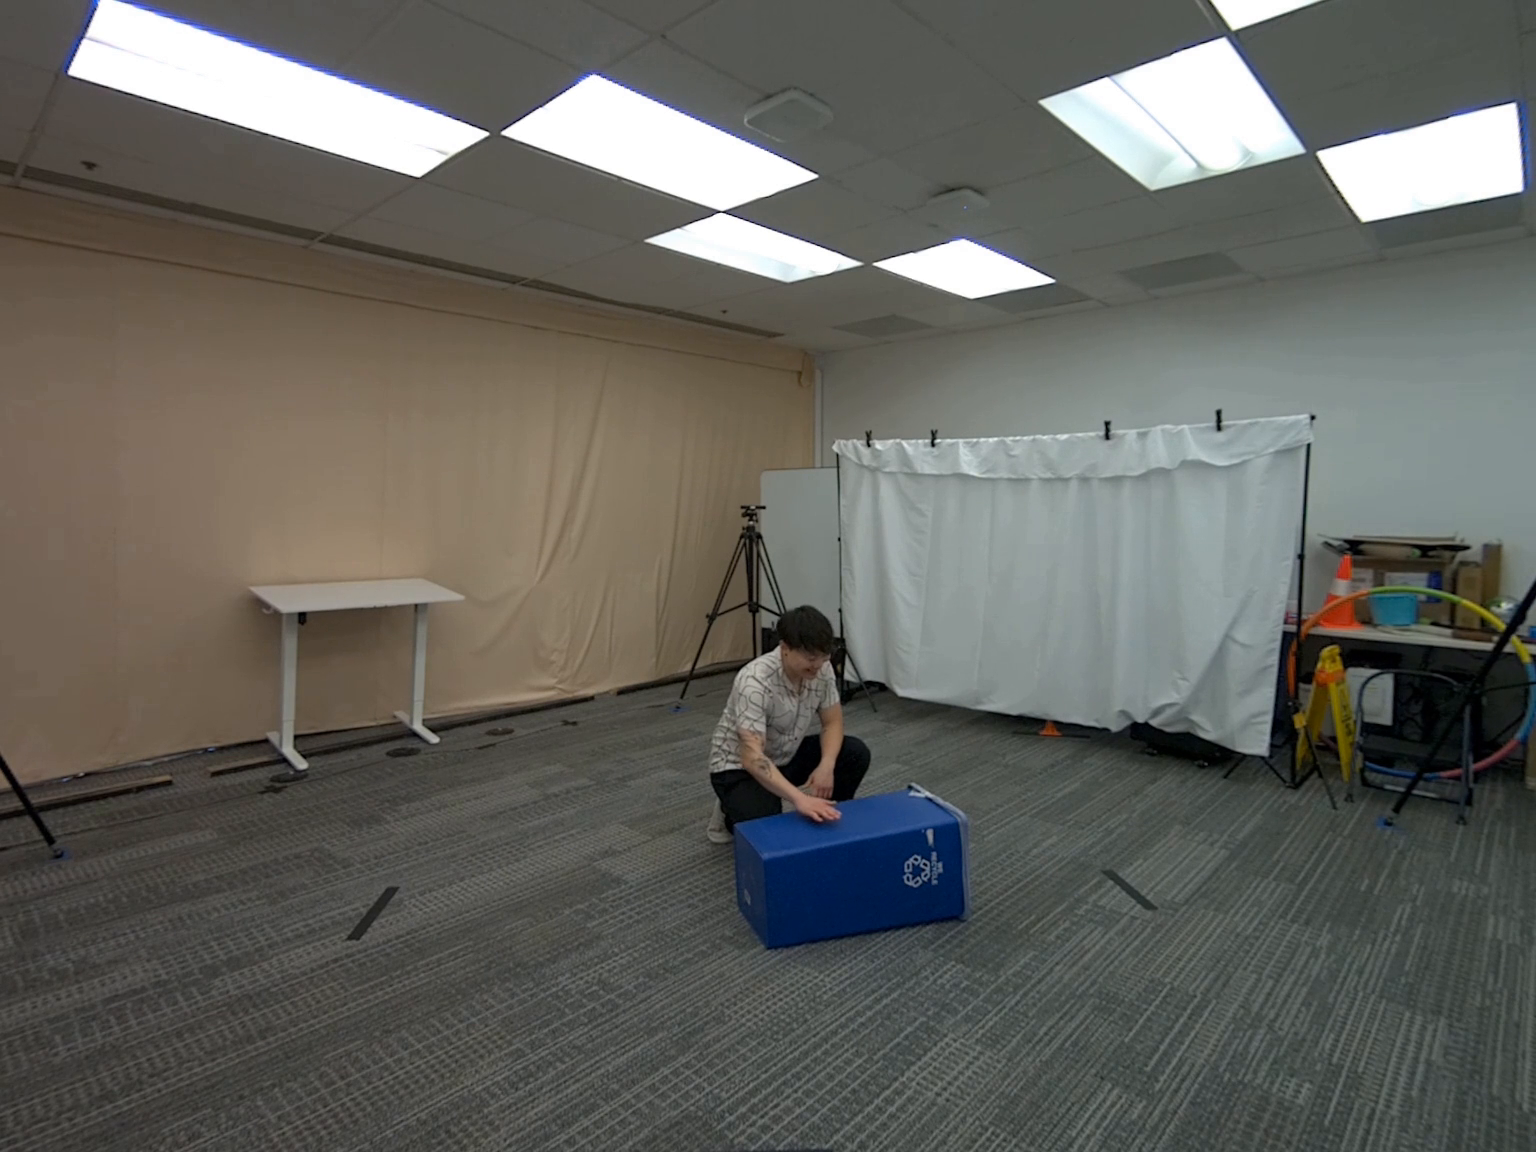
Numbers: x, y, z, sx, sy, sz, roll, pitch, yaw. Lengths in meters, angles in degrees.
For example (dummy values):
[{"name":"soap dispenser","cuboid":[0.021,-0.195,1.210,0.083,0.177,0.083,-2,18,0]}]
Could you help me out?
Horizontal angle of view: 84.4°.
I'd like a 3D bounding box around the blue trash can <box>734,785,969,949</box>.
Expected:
[{"name":"blue trash can","cuboid":[0.275,0.982,2.870,0.702,0.373,0.385,-5,4,-17]}]
